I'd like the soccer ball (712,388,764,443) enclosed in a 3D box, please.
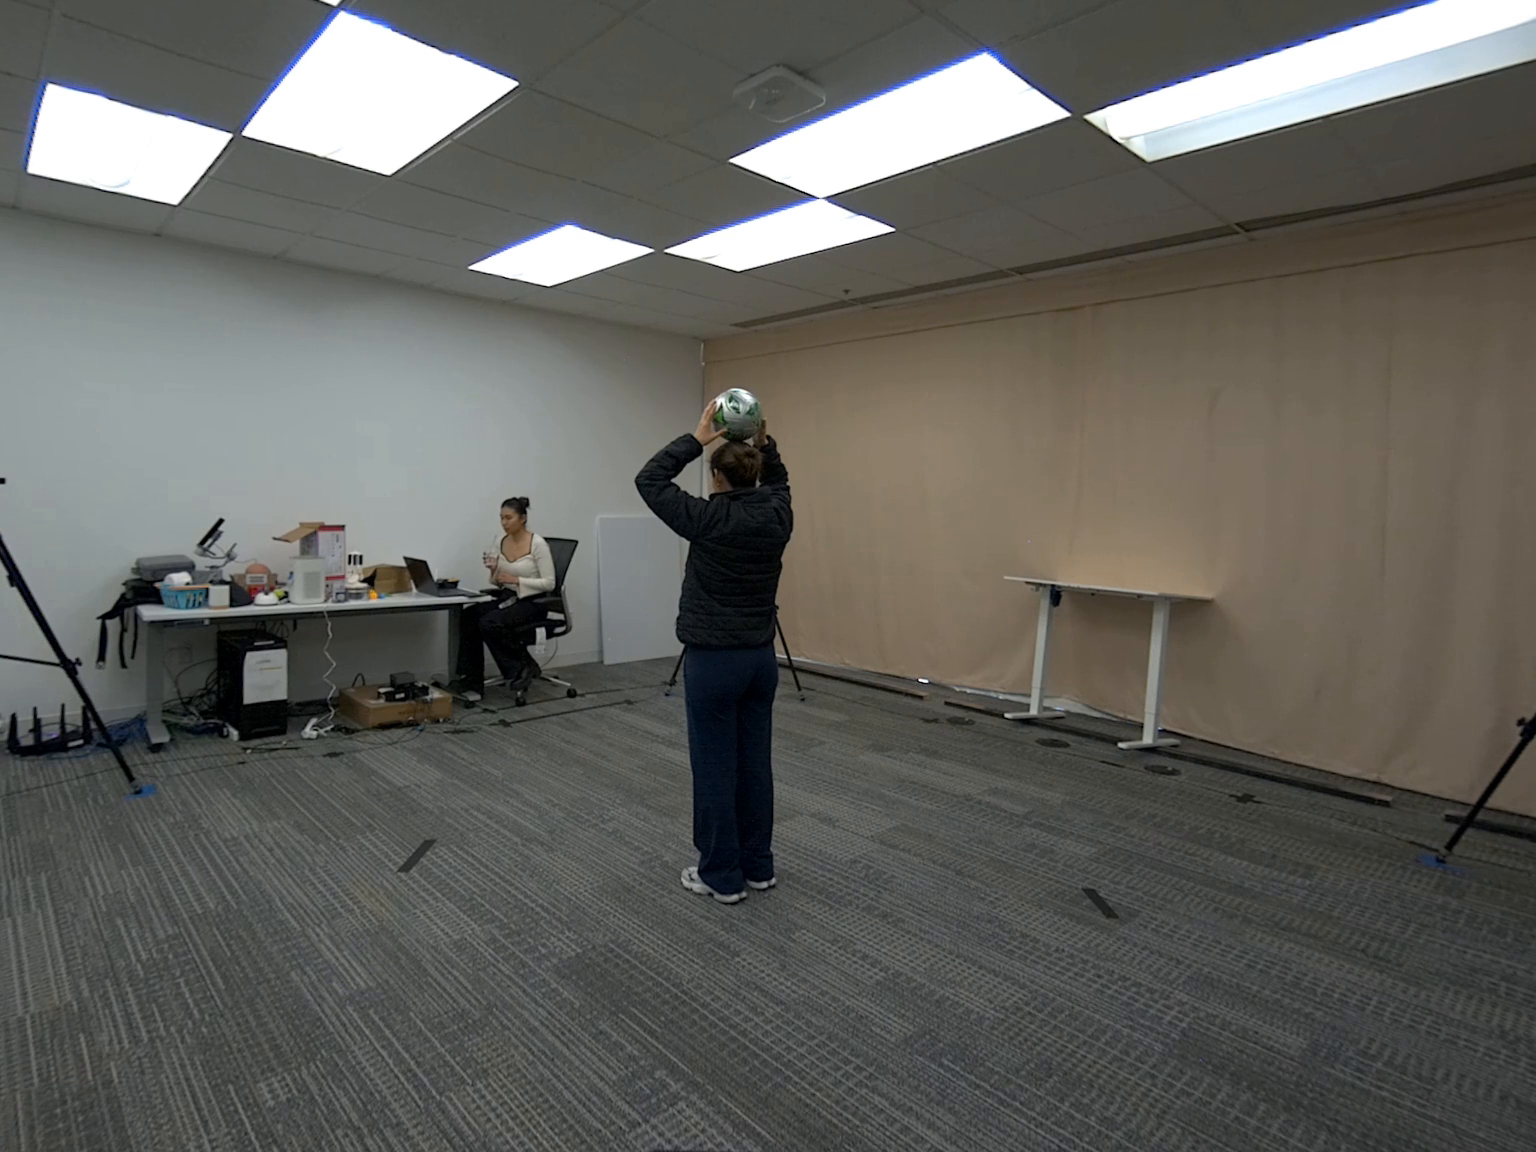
[{"bbox_3d":[-0.113,-0.567,2.976,0.187,0.187,0.188,1,4,-1],"label":"soccer ball"}]
